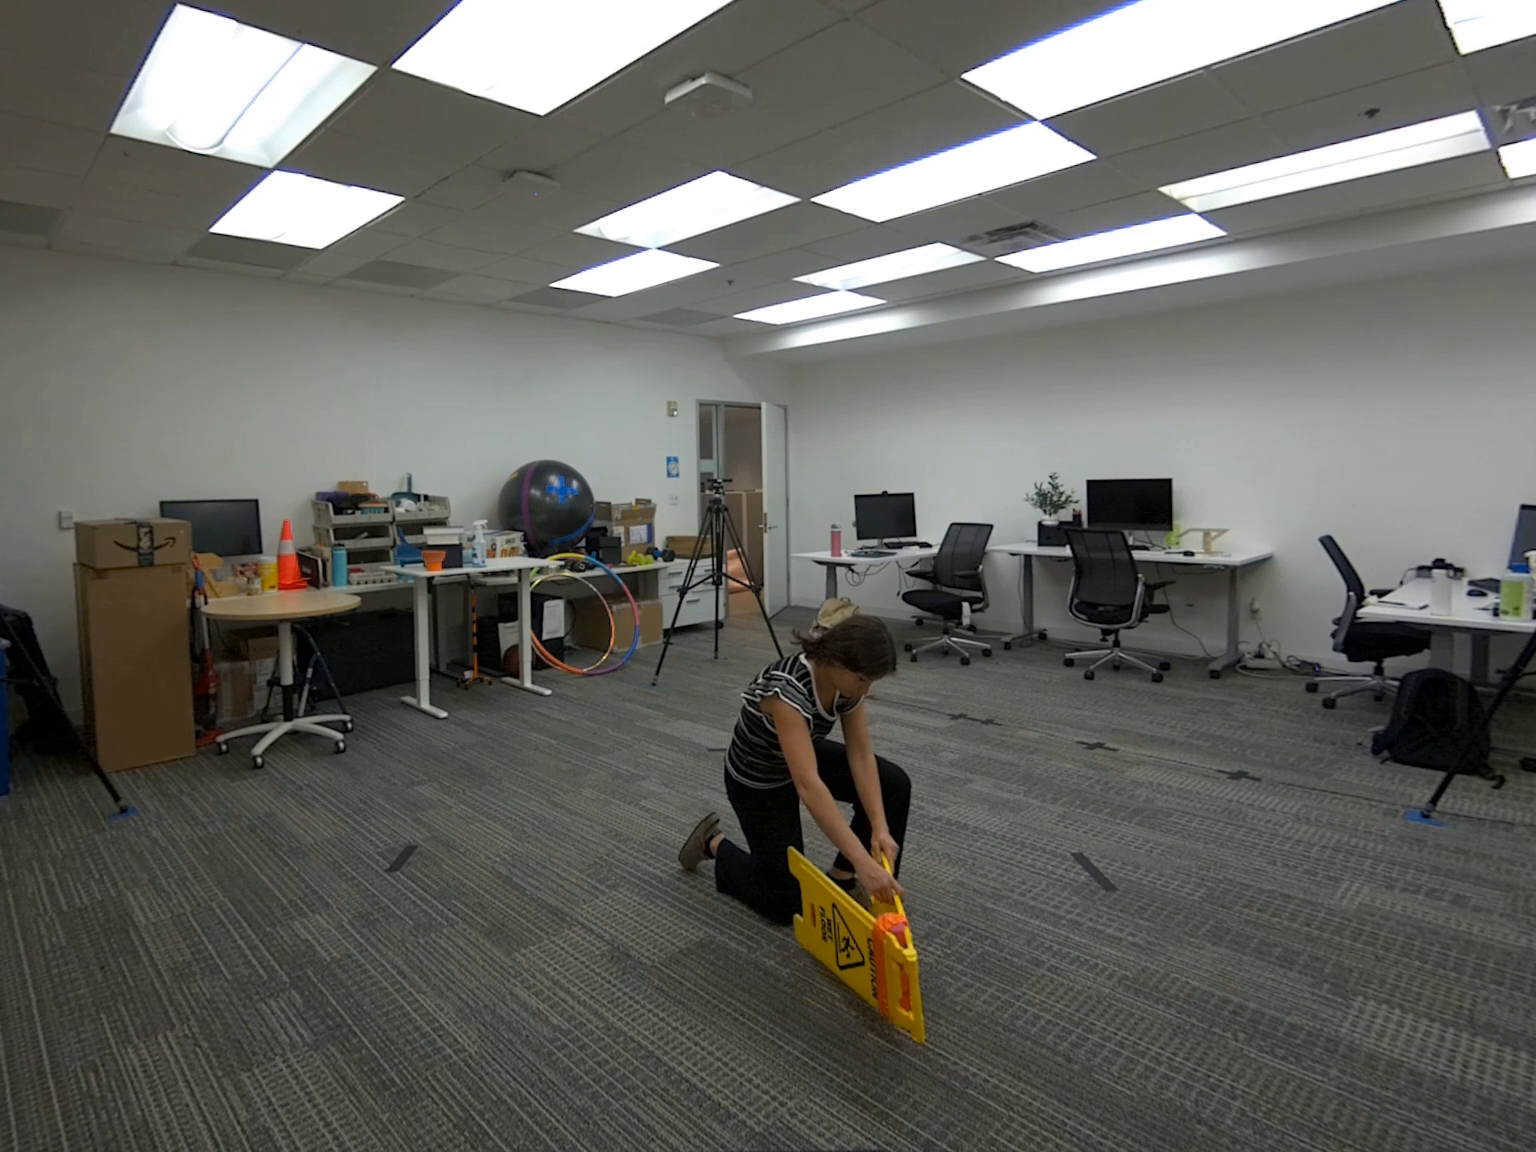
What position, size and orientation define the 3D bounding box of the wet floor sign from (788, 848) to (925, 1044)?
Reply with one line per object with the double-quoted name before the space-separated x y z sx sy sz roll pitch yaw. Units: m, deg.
"wet floor sign" 0.271 0.951 2.240 0.287 0.281 0.654 -7 5 -11
